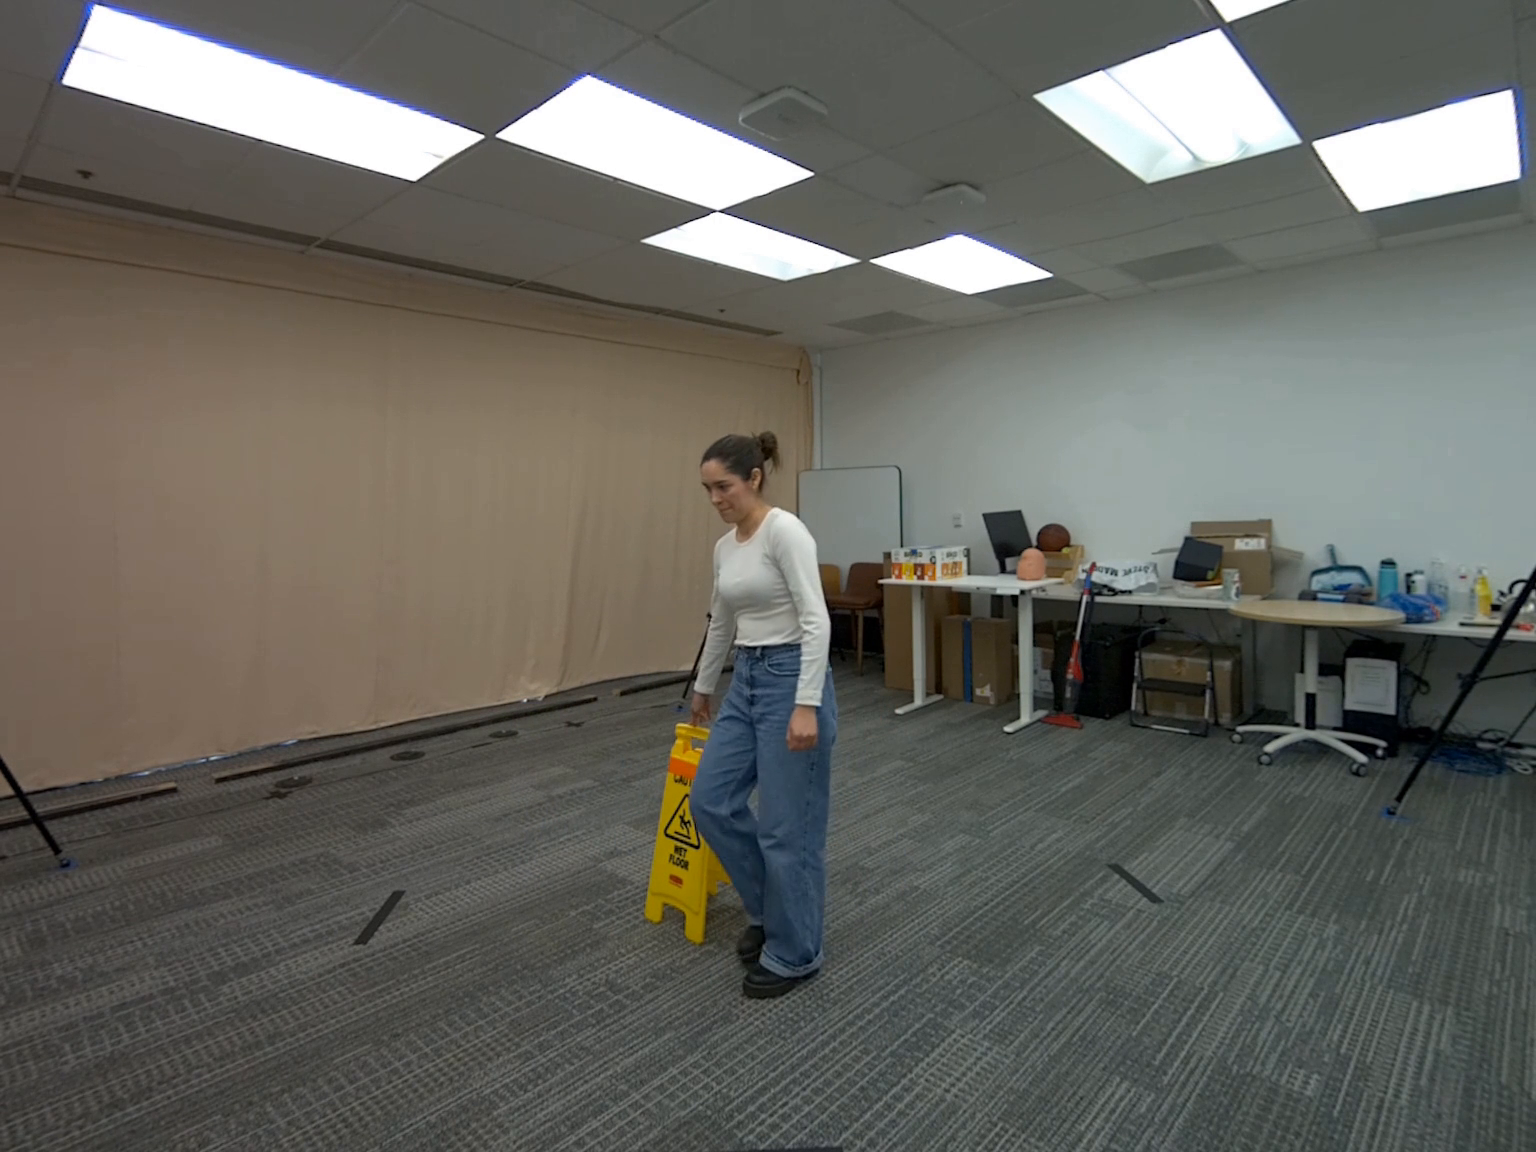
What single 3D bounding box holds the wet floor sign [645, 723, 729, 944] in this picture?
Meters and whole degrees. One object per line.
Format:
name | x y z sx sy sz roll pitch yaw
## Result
wet floor sign | -0.229 0.832 2.846 0.291 0.645 0.281 1 4 43
